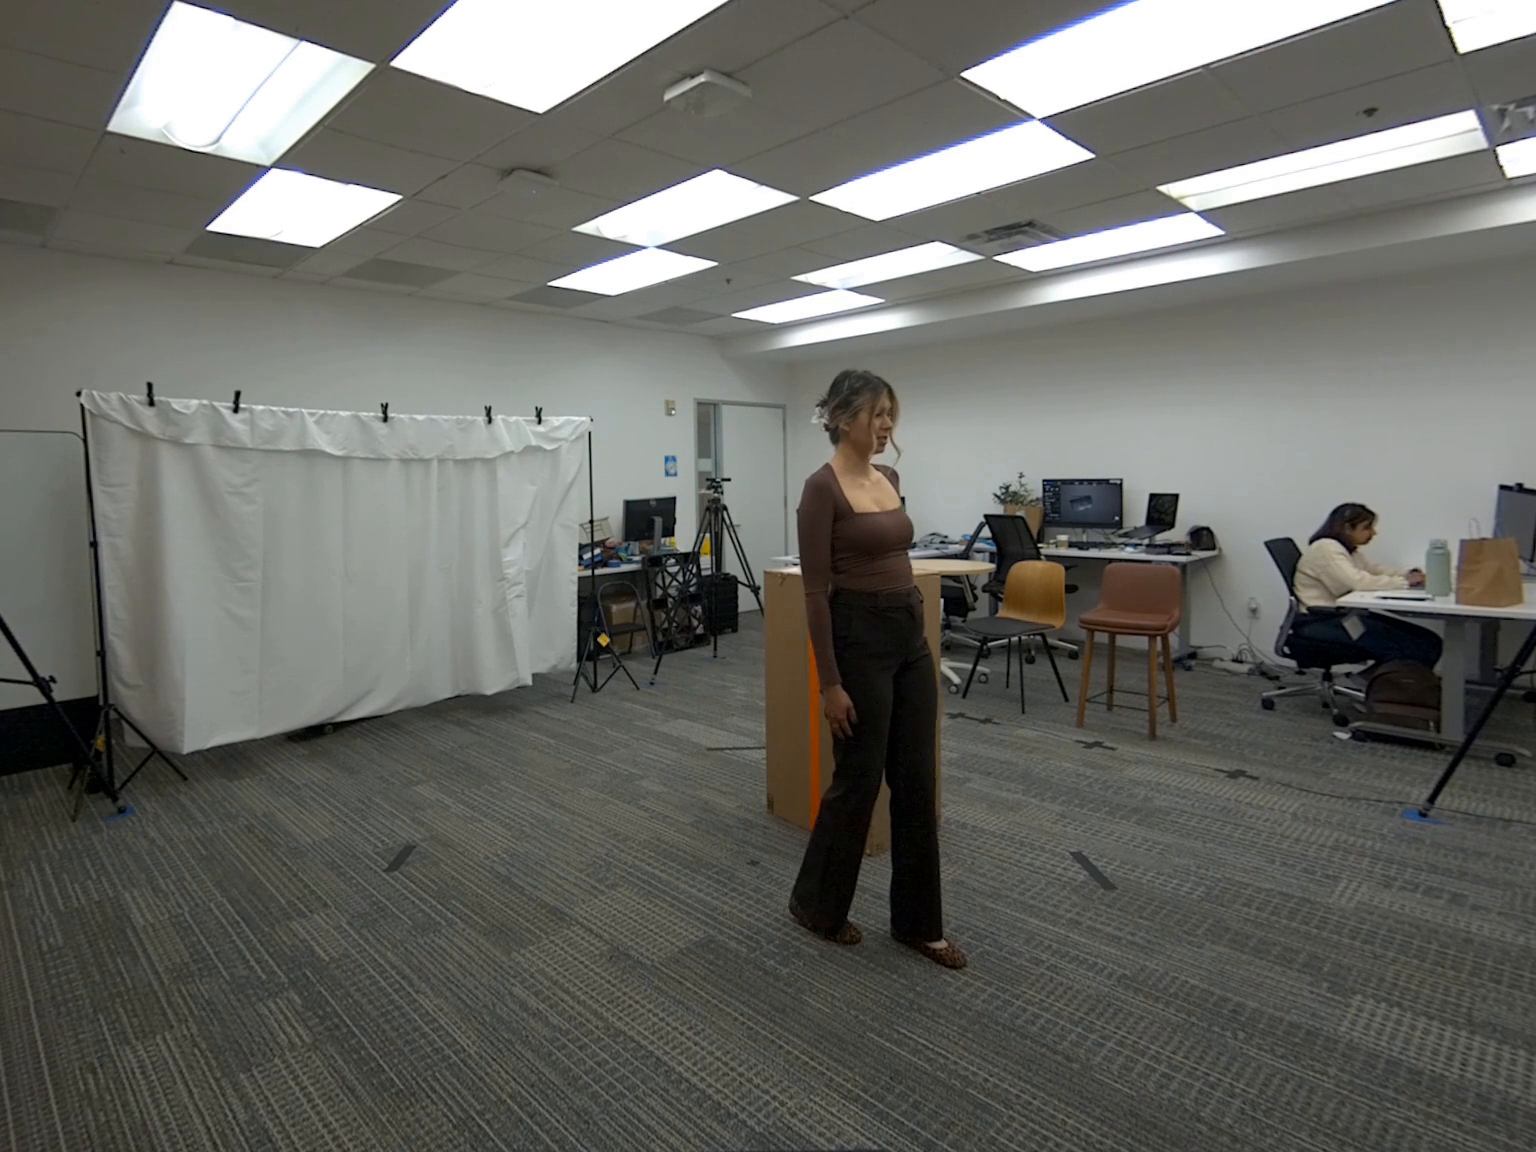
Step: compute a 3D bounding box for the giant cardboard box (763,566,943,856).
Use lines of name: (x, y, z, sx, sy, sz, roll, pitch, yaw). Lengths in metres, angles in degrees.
giant cardboard box: (0.337, 0.486, 3.455, 0.435, 1.023, 0.602, -5, 6, -40)
